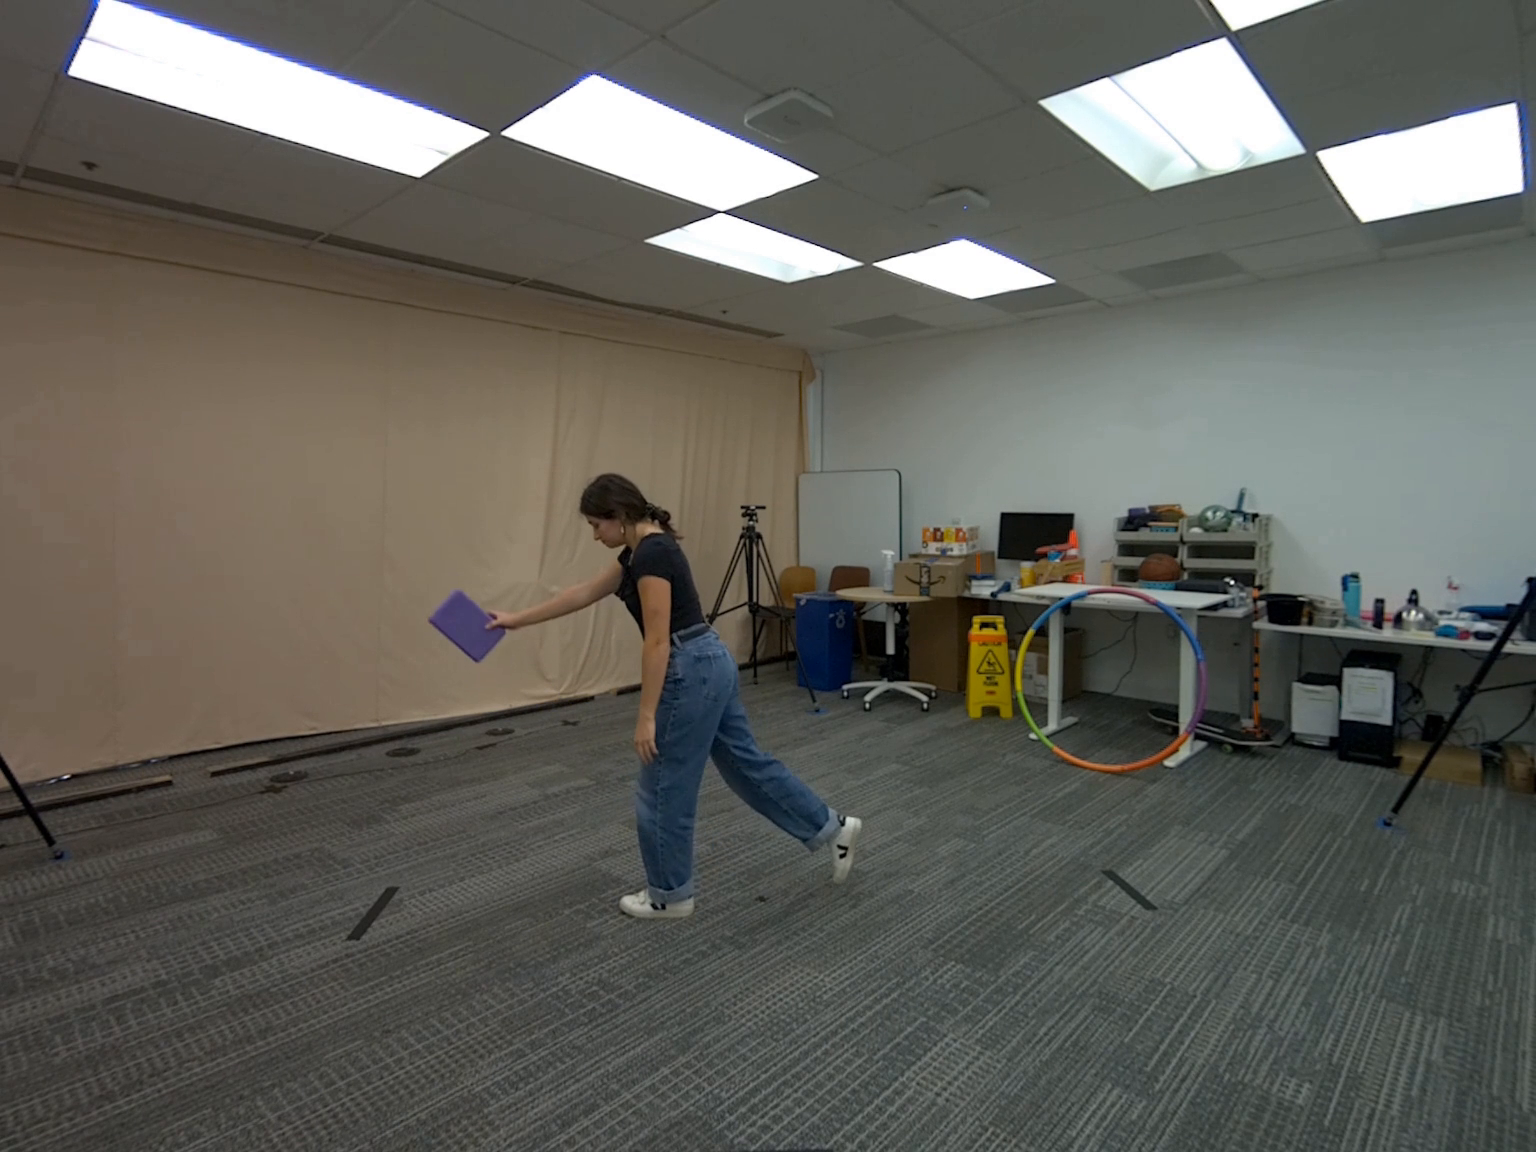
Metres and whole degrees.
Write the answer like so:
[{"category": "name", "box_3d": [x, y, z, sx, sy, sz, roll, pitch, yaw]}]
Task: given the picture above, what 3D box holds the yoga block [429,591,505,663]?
[{"category": "yoga block", "box_3d": [-1.022, 0.173, 2.938, 0.148, 0.226, 0.078, -48, 13, -19]}]
